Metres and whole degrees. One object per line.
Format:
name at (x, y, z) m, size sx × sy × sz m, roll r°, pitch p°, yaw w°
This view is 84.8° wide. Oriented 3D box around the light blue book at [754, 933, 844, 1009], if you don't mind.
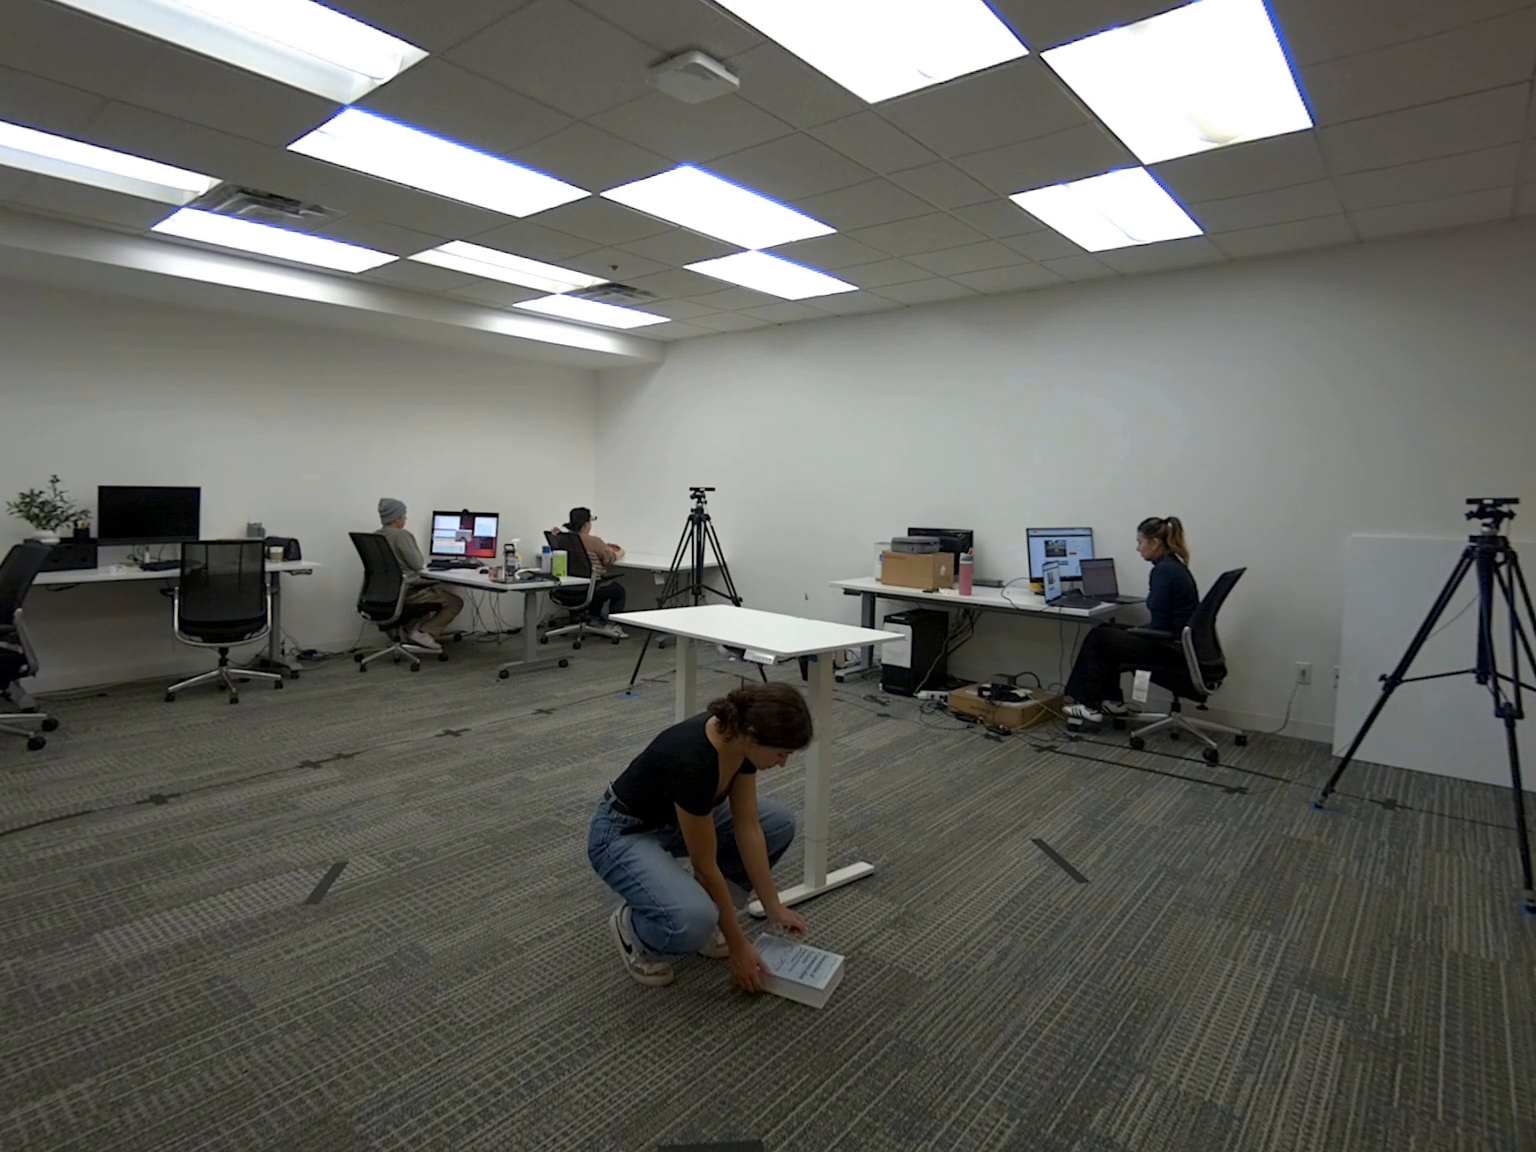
light blue book at (0.054, 1.109, 2.409) m, size 0.268 × 0.059 × 0.187 m, roll 5°, pitch 6°, yaw 28°
